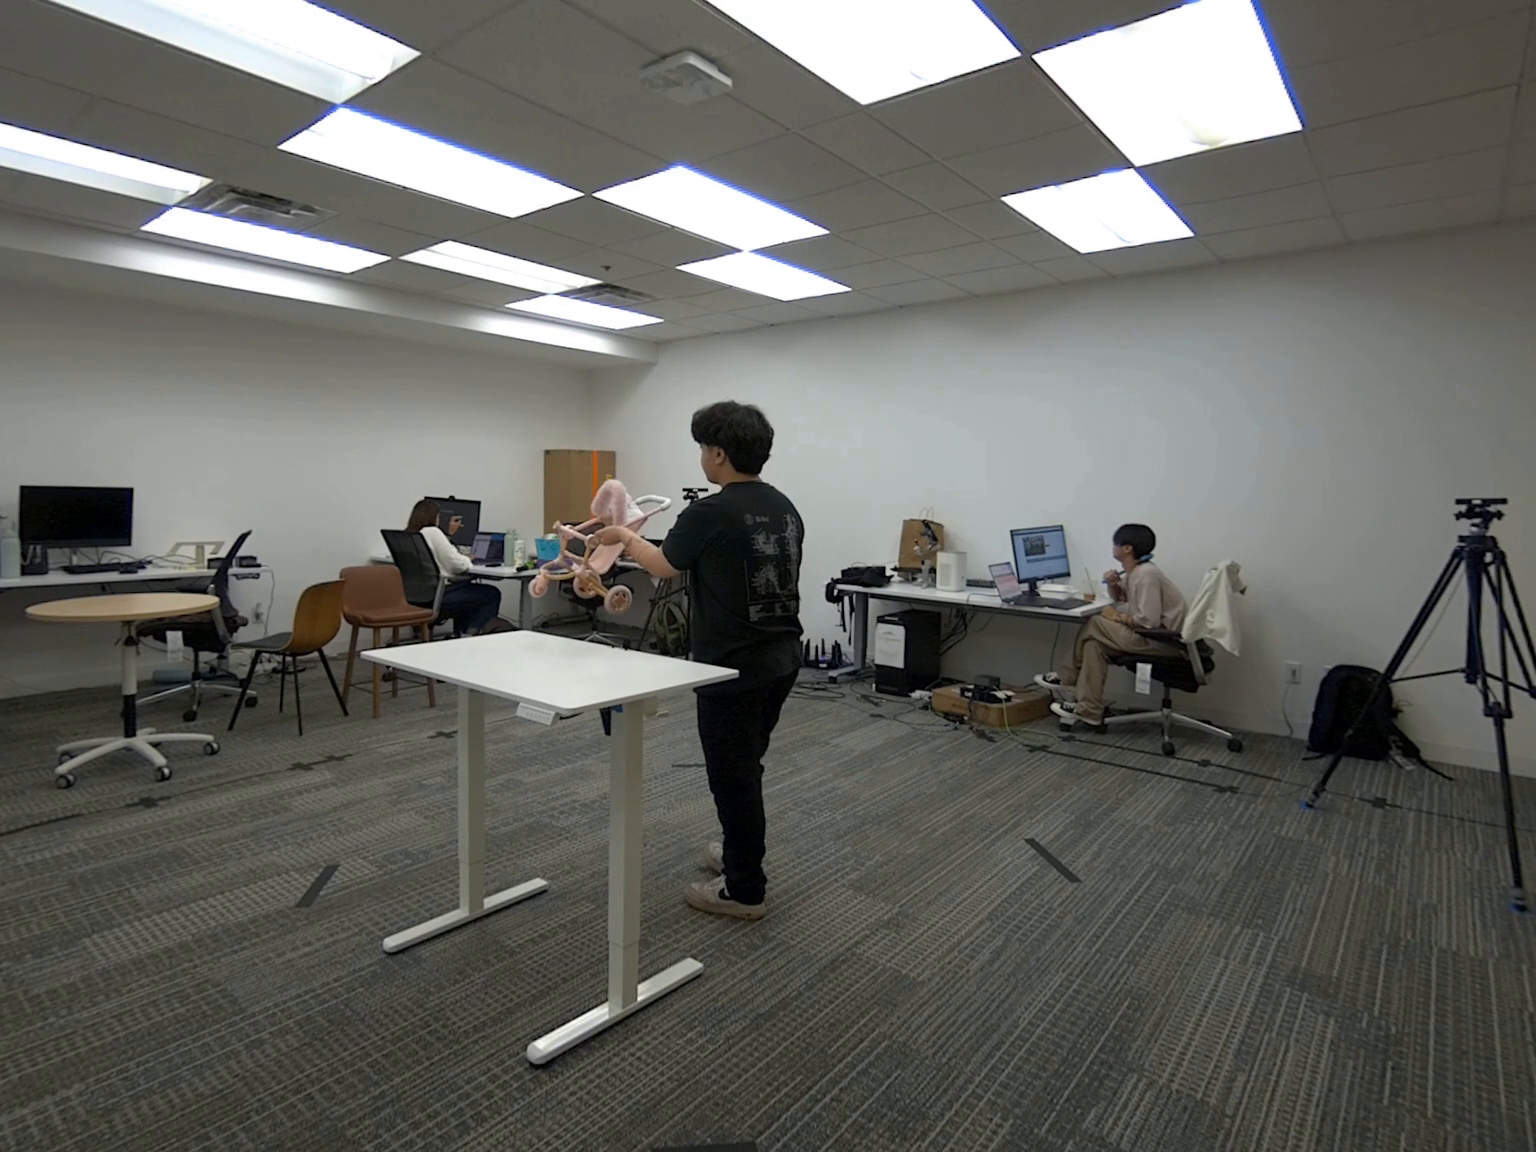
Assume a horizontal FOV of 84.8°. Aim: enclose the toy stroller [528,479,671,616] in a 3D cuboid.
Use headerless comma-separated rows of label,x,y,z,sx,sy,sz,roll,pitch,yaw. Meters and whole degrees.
toy stroller,-0.638,-0.120,3.105,0.329,0.536,0.291,29,-6,-33
